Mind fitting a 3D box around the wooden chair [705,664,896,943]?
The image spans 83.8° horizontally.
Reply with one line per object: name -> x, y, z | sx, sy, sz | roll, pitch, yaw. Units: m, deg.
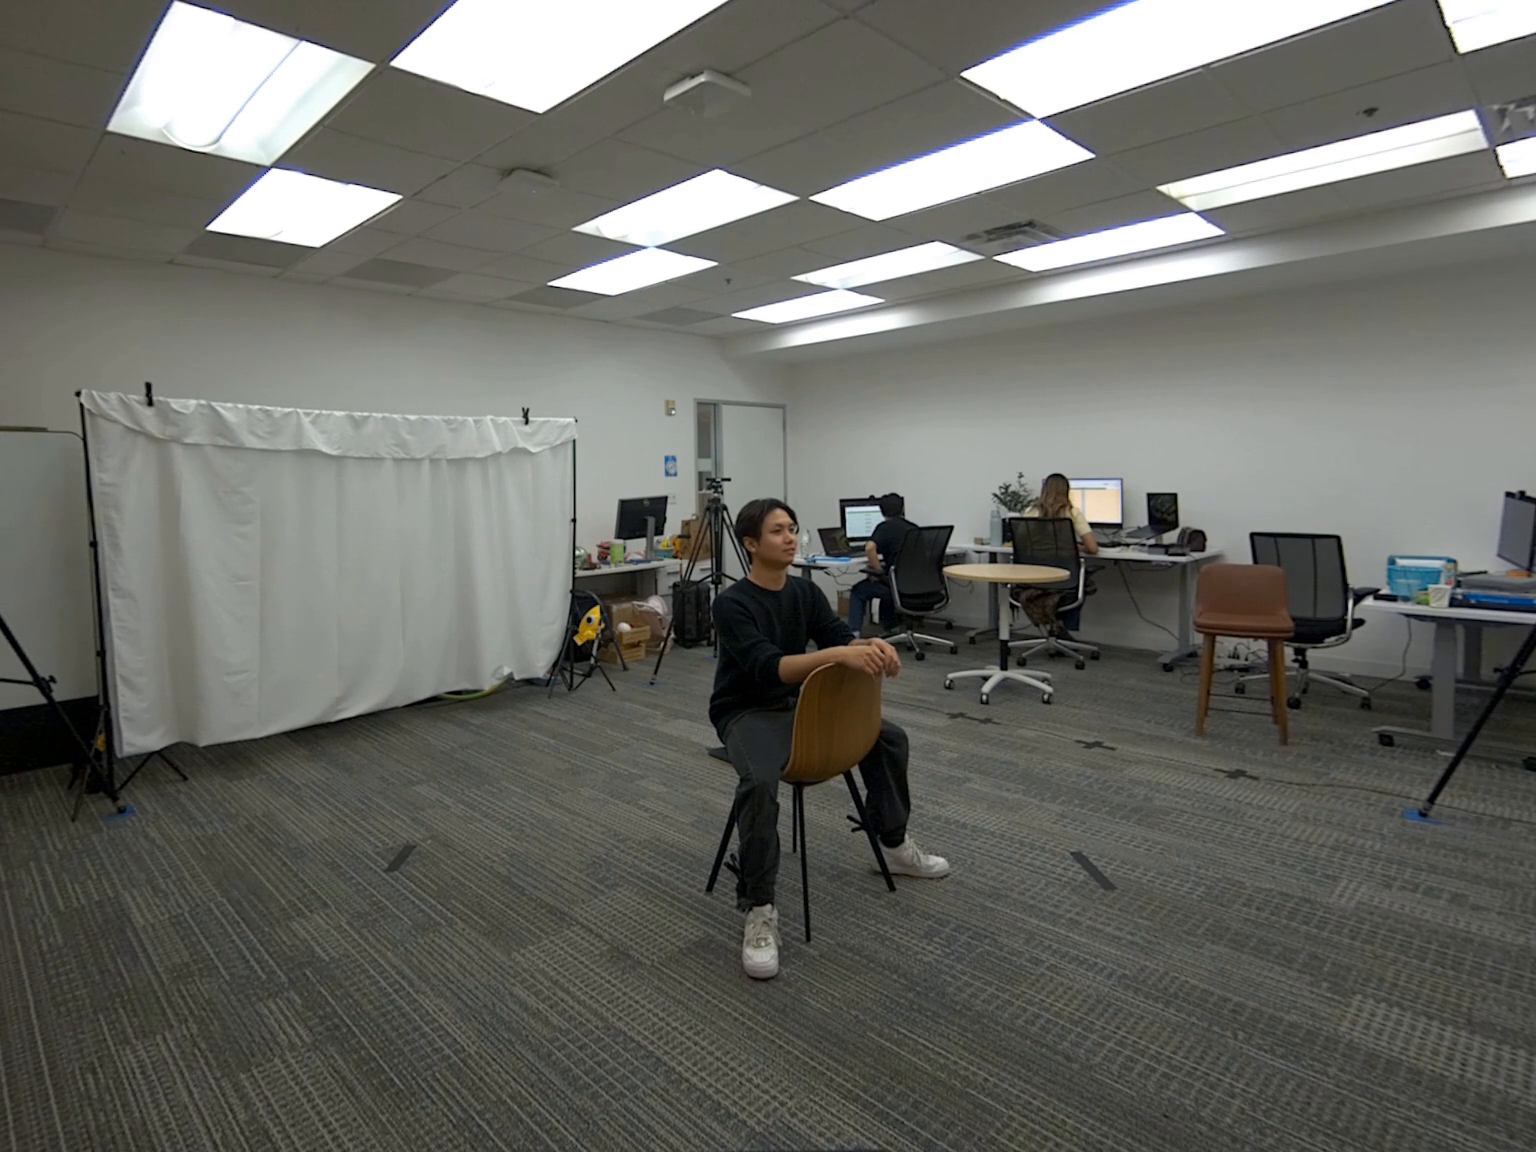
wooden chair -> 0.090, 0.633, 2.862 | 0.465, 0.872, 0.540 | -5, 9, -44
